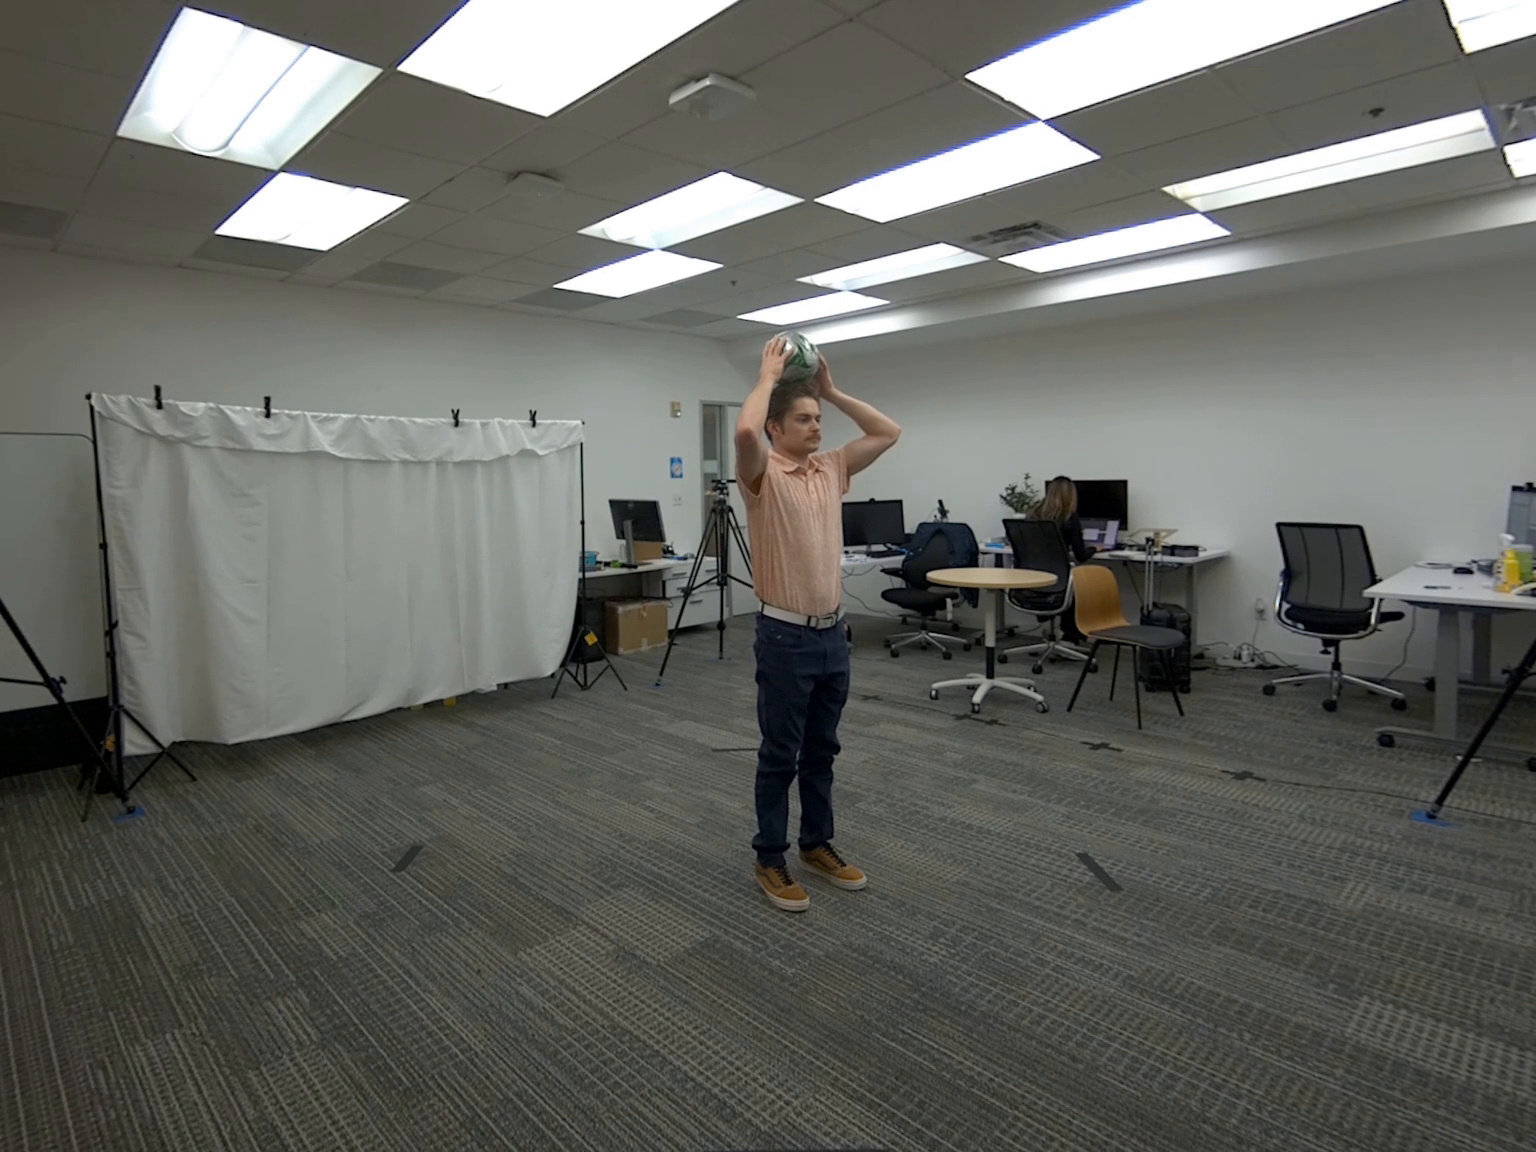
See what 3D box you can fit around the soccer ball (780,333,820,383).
[{"bbox_3d":[0.083,-0.722,2.868,0.187,0.187,0.188,-1,5,-2],"label":"soccer ball"}]
